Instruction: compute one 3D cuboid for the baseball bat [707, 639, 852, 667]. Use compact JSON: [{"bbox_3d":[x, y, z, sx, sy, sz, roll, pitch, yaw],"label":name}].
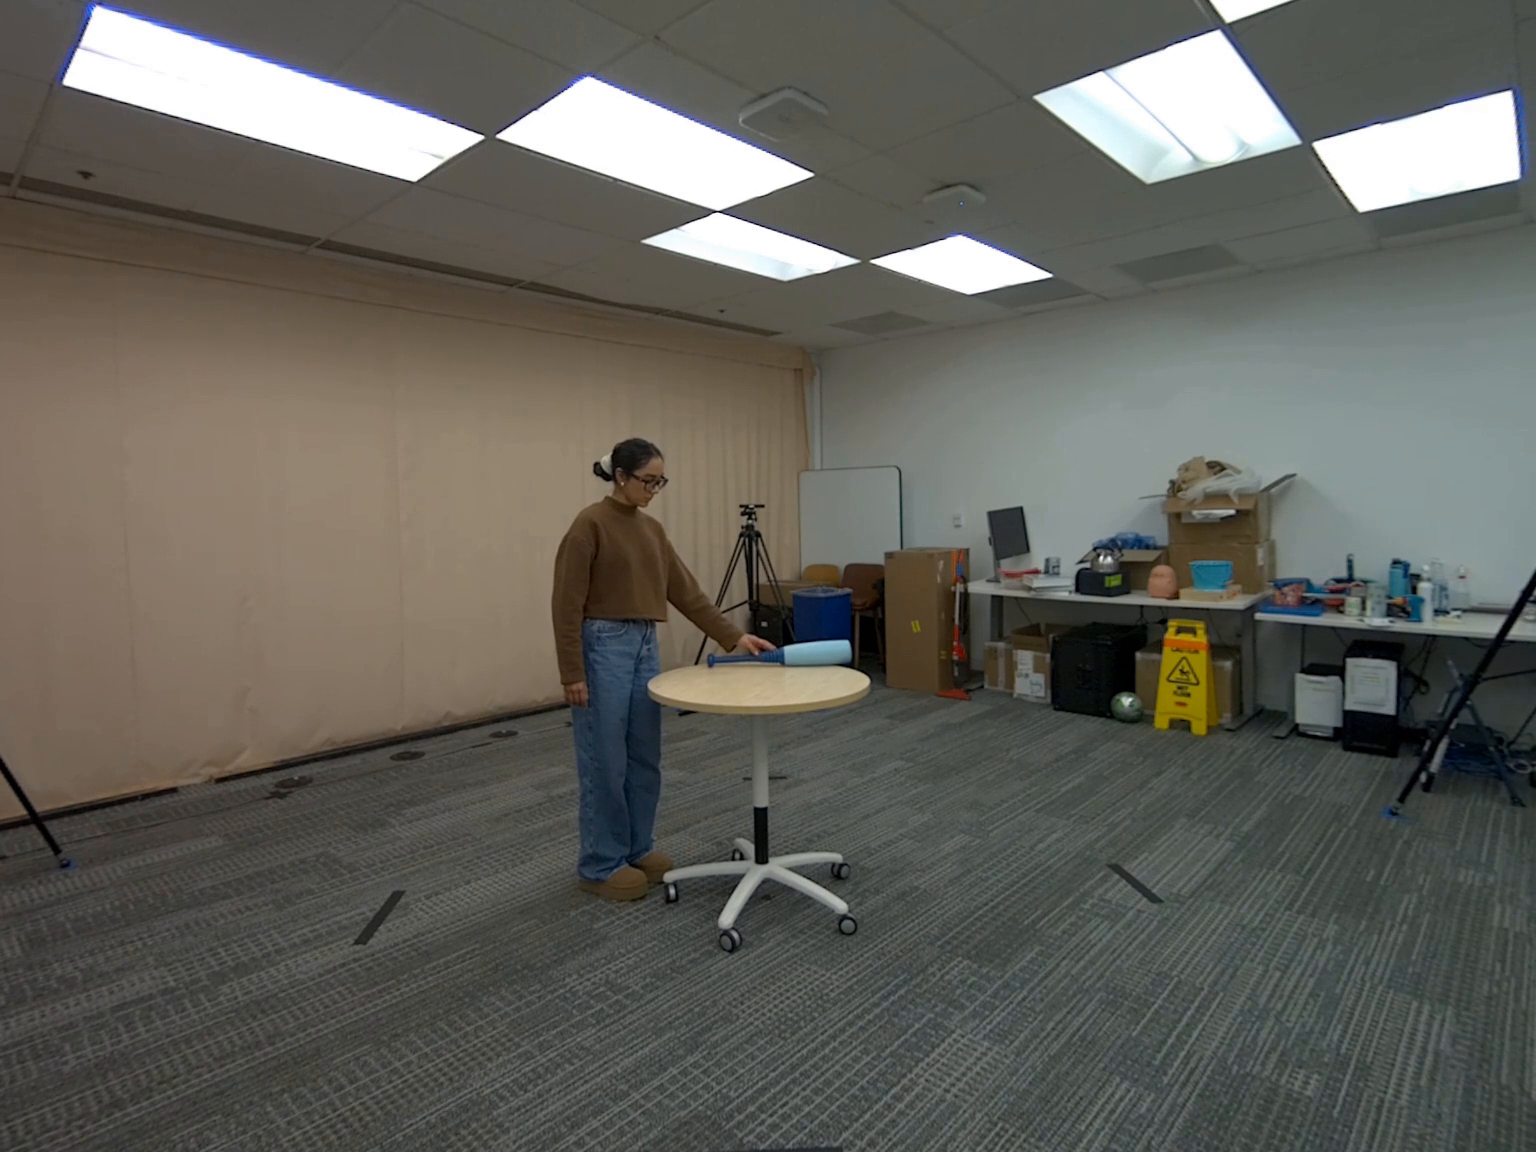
[{"bbox_3d":[0.042,0.306,3.174,0.545,0.089,0.089,-4,4,4],"label":"baseball bat"}]
